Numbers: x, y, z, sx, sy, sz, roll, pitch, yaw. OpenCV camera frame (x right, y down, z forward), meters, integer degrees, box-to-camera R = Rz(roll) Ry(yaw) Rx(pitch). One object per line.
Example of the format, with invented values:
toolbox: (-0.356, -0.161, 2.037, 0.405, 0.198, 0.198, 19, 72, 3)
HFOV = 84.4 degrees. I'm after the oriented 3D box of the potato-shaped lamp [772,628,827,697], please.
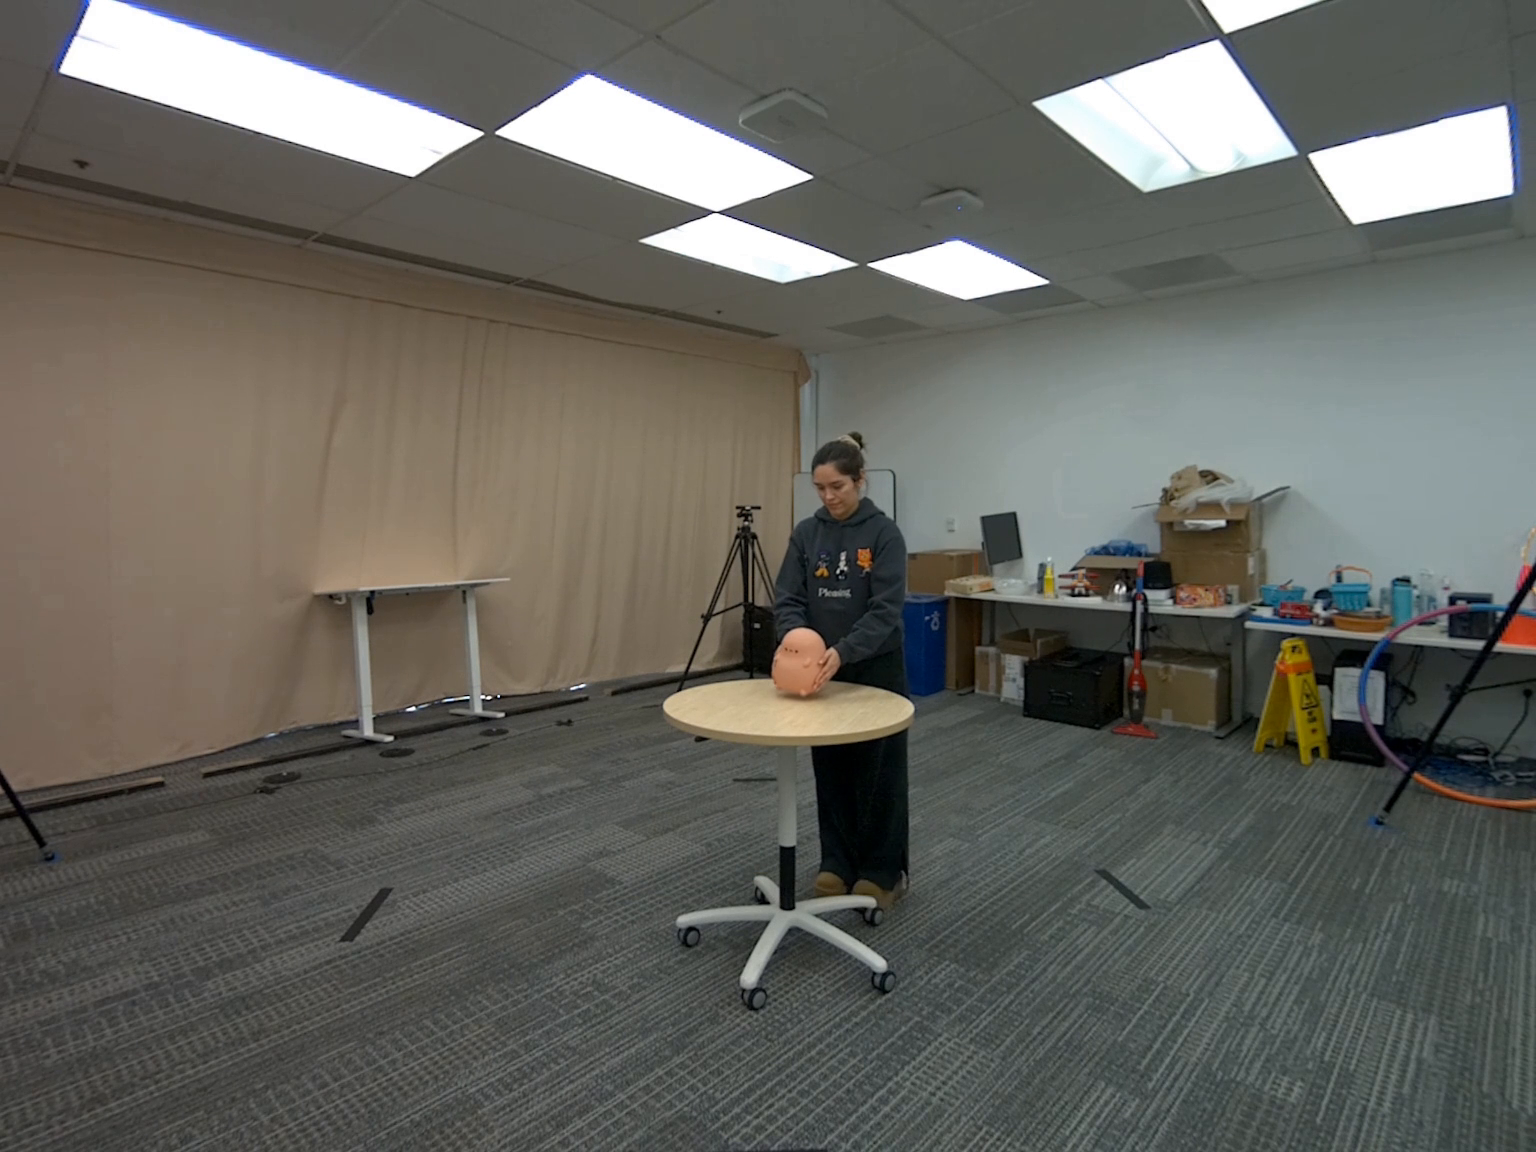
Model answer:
potato-shaped lamp: (0.117, 0.265, 2.673, 0.170, 0.197, 0.167, 8, 12, 35)
